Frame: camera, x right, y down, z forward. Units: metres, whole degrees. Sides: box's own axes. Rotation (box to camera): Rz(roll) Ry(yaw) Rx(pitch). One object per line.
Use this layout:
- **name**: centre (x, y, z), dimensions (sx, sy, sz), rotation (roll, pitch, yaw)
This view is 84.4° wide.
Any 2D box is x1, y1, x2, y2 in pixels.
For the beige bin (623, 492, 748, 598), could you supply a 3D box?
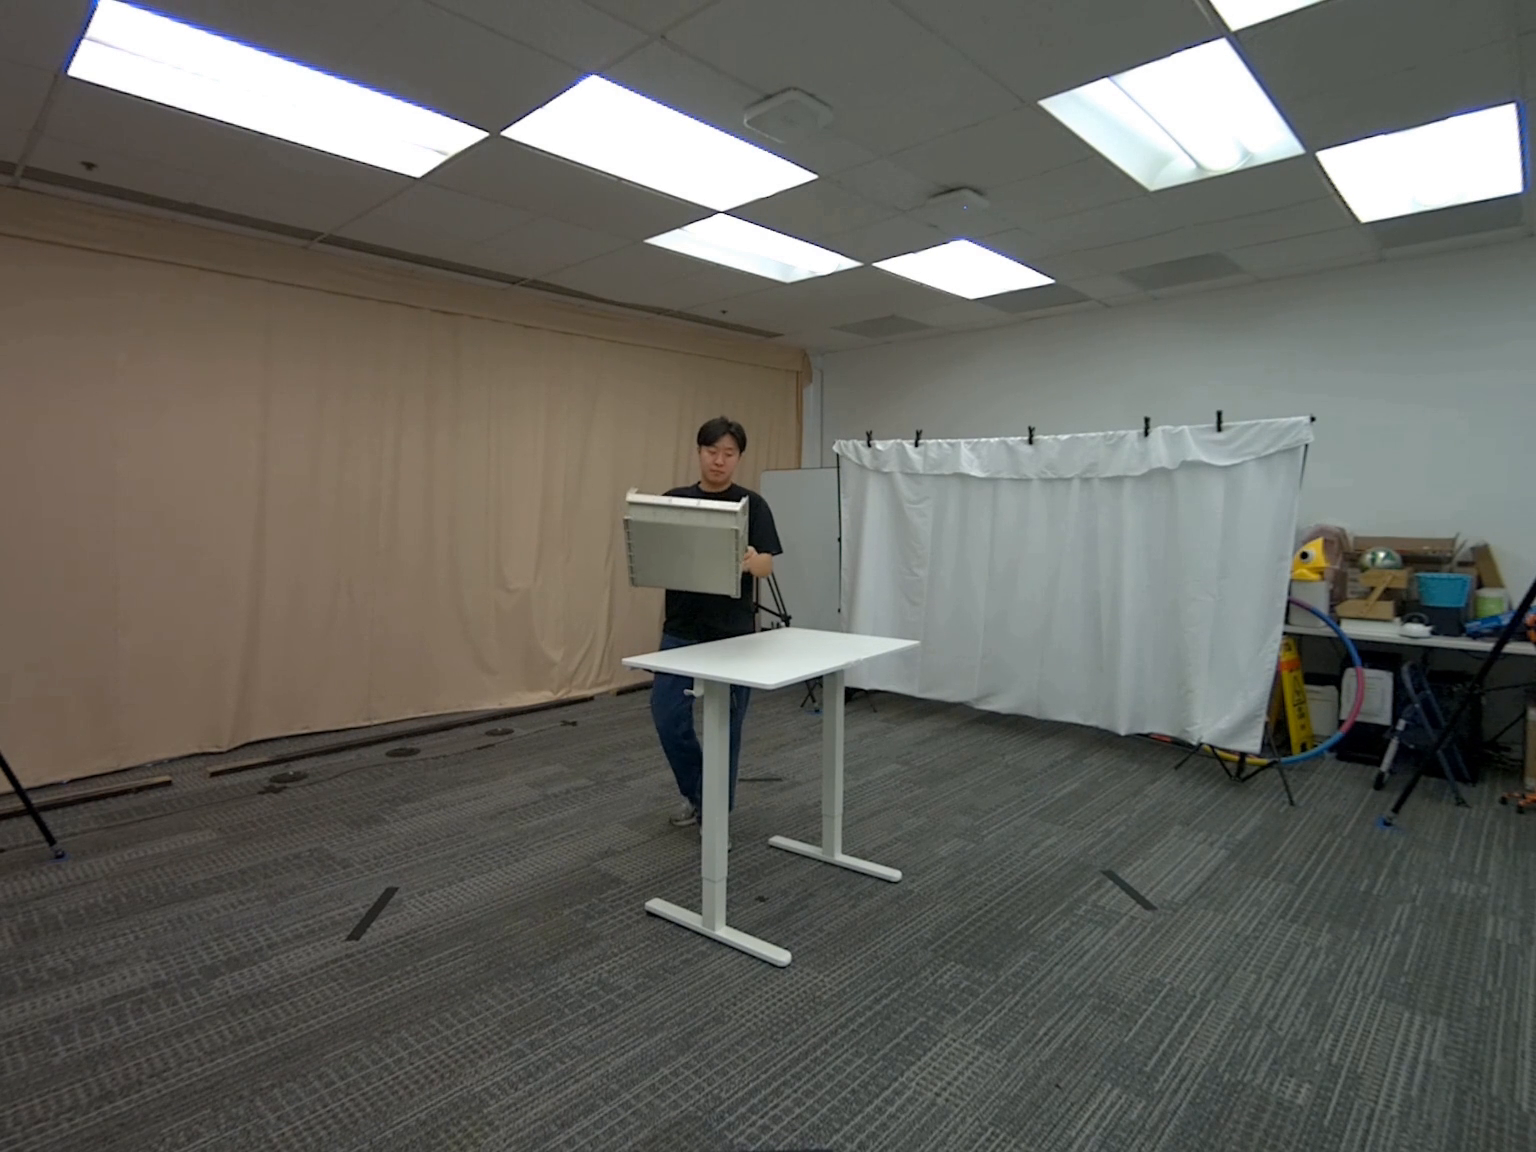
- **beige bin**: centre (-0.294, -0.124, 3.040), dimensions (0.425, 0.371, 0.191), rotation (5, 37, 4)
